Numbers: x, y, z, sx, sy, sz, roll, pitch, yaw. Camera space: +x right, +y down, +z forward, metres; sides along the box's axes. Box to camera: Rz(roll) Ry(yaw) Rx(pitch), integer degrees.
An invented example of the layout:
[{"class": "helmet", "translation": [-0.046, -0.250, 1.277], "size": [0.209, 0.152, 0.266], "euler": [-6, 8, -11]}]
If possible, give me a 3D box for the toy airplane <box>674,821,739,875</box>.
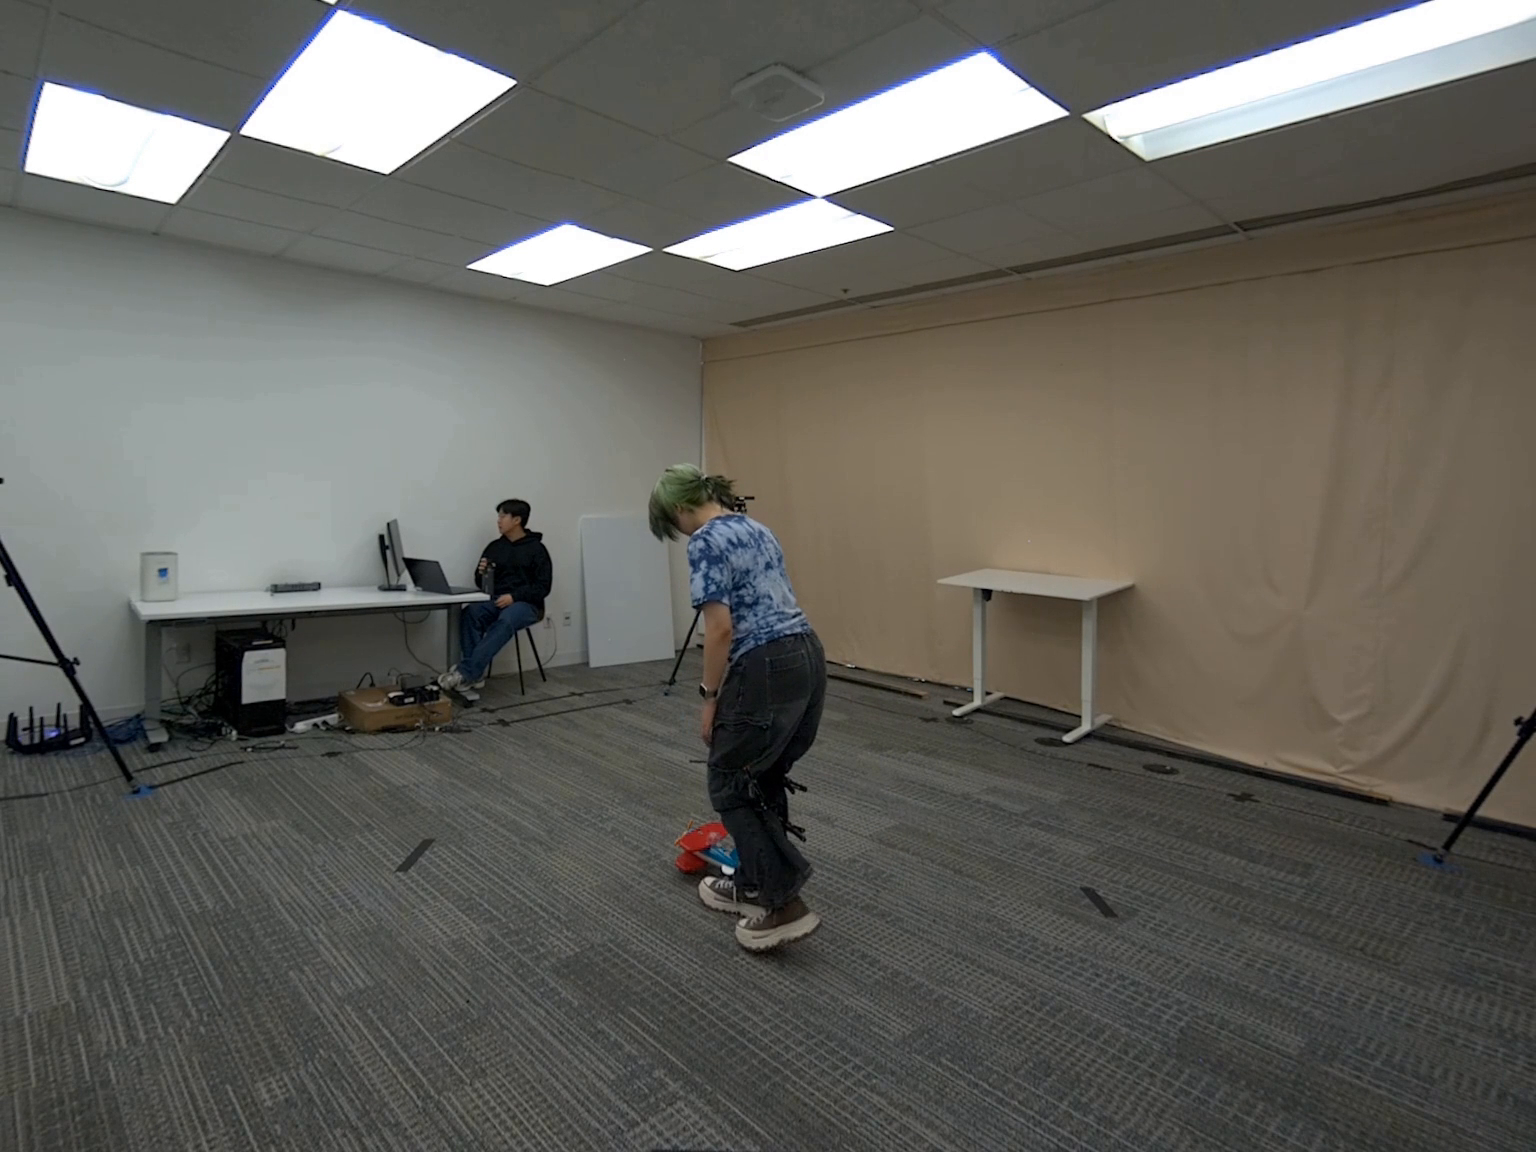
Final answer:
[{"class": "toy airplane", "translation": [-0.209, 1.026, 3.115], "size": [0.260, 0.156, 0.250], "euler": [1, 5, 5]}]
